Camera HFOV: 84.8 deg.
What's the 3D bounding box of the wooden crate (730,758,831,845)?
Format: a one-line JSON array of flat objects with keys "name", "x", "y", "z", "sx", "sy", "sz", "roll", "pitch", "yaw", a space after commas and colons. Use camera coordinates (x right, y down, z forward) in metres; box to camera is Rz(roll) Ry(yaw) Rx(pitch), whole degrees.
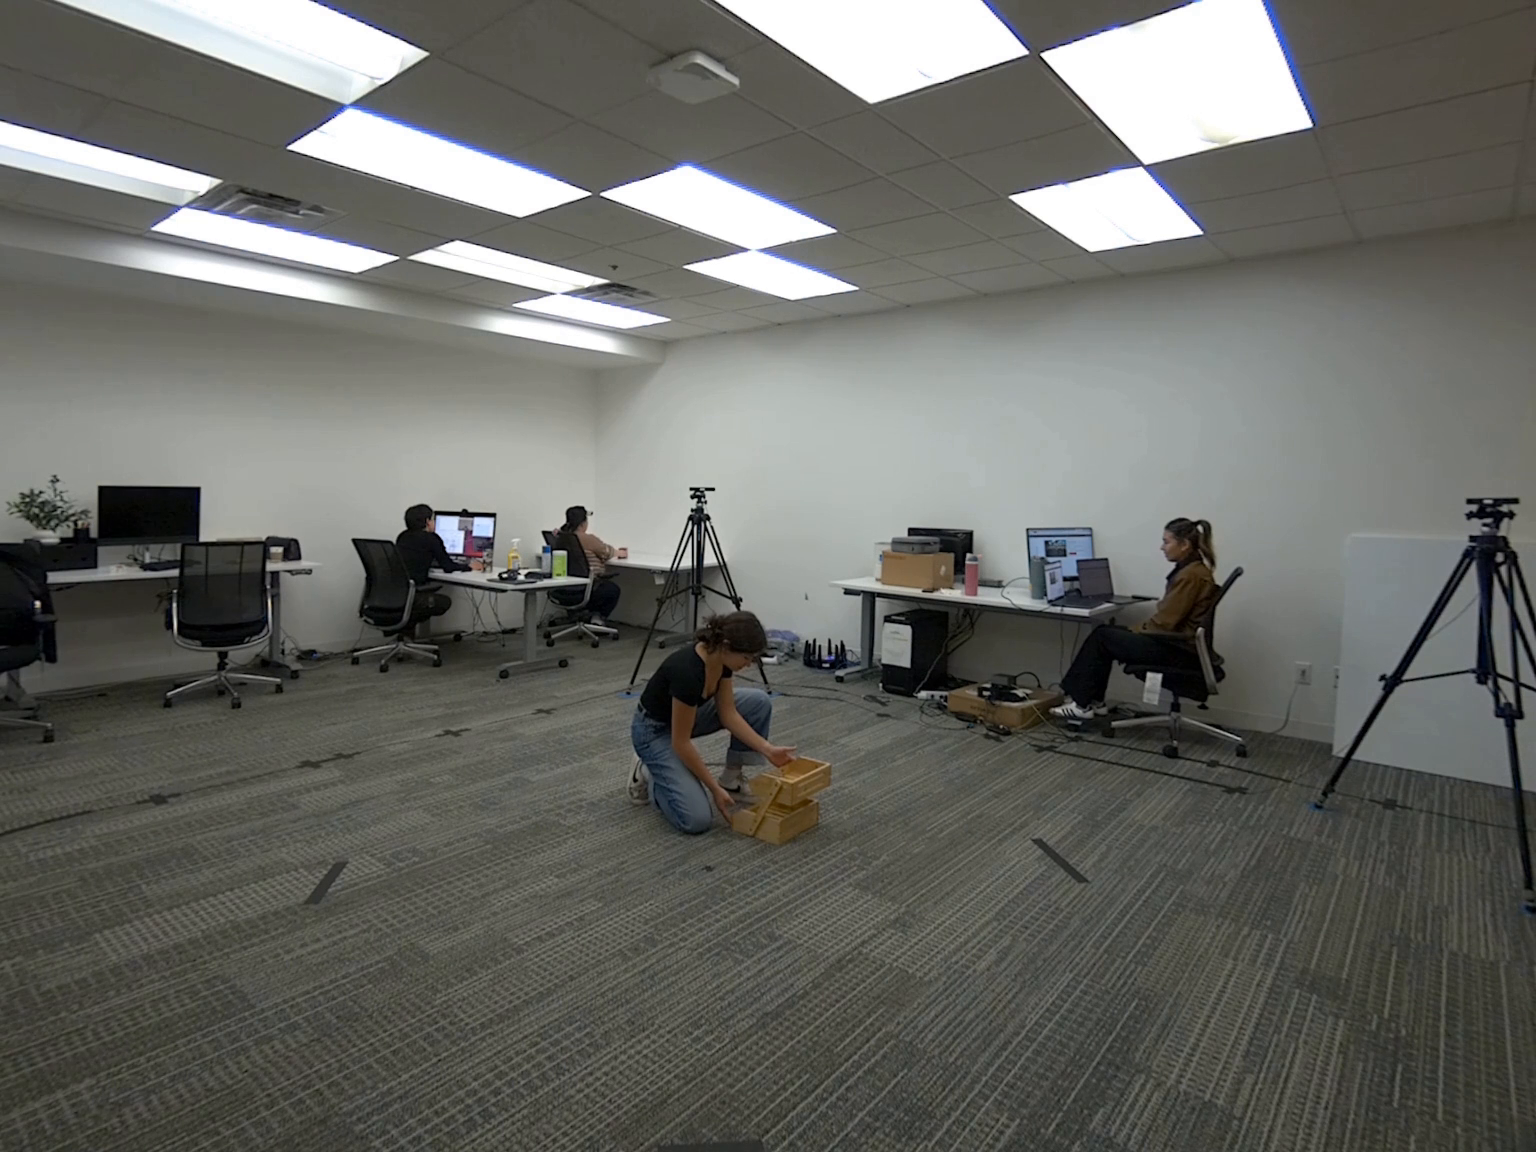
[{"name": "wooden crate", "x": 0.041, "y": 0.898, "z": 3.503, "sx": 0.312, "sy": 0.272, "sz": 0.315, "roll": 6, "pitch": 6, "yaw": 36}]
